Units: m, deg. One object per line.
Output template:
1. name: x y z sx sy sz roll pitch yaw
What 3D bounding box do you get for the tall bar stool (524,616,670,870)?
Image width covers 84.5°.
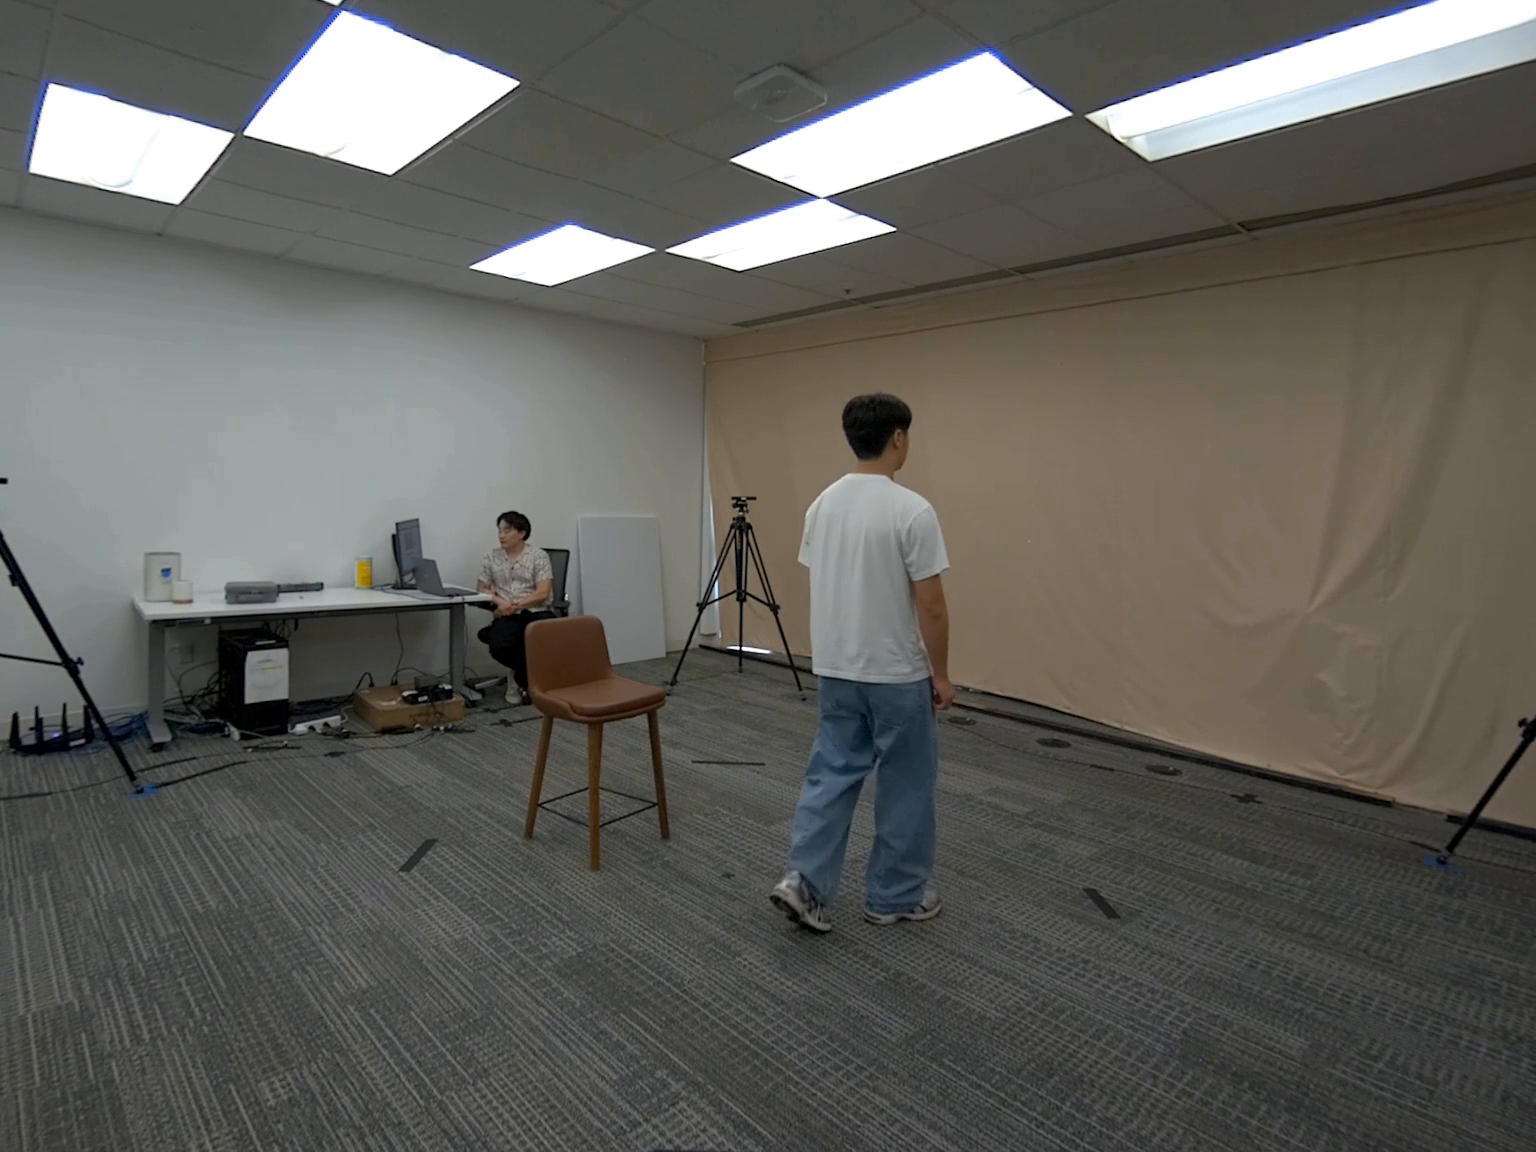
1. tall bar stool: -0.701 0.633 3.395 0.479 0.889 0.446 1 2 39
